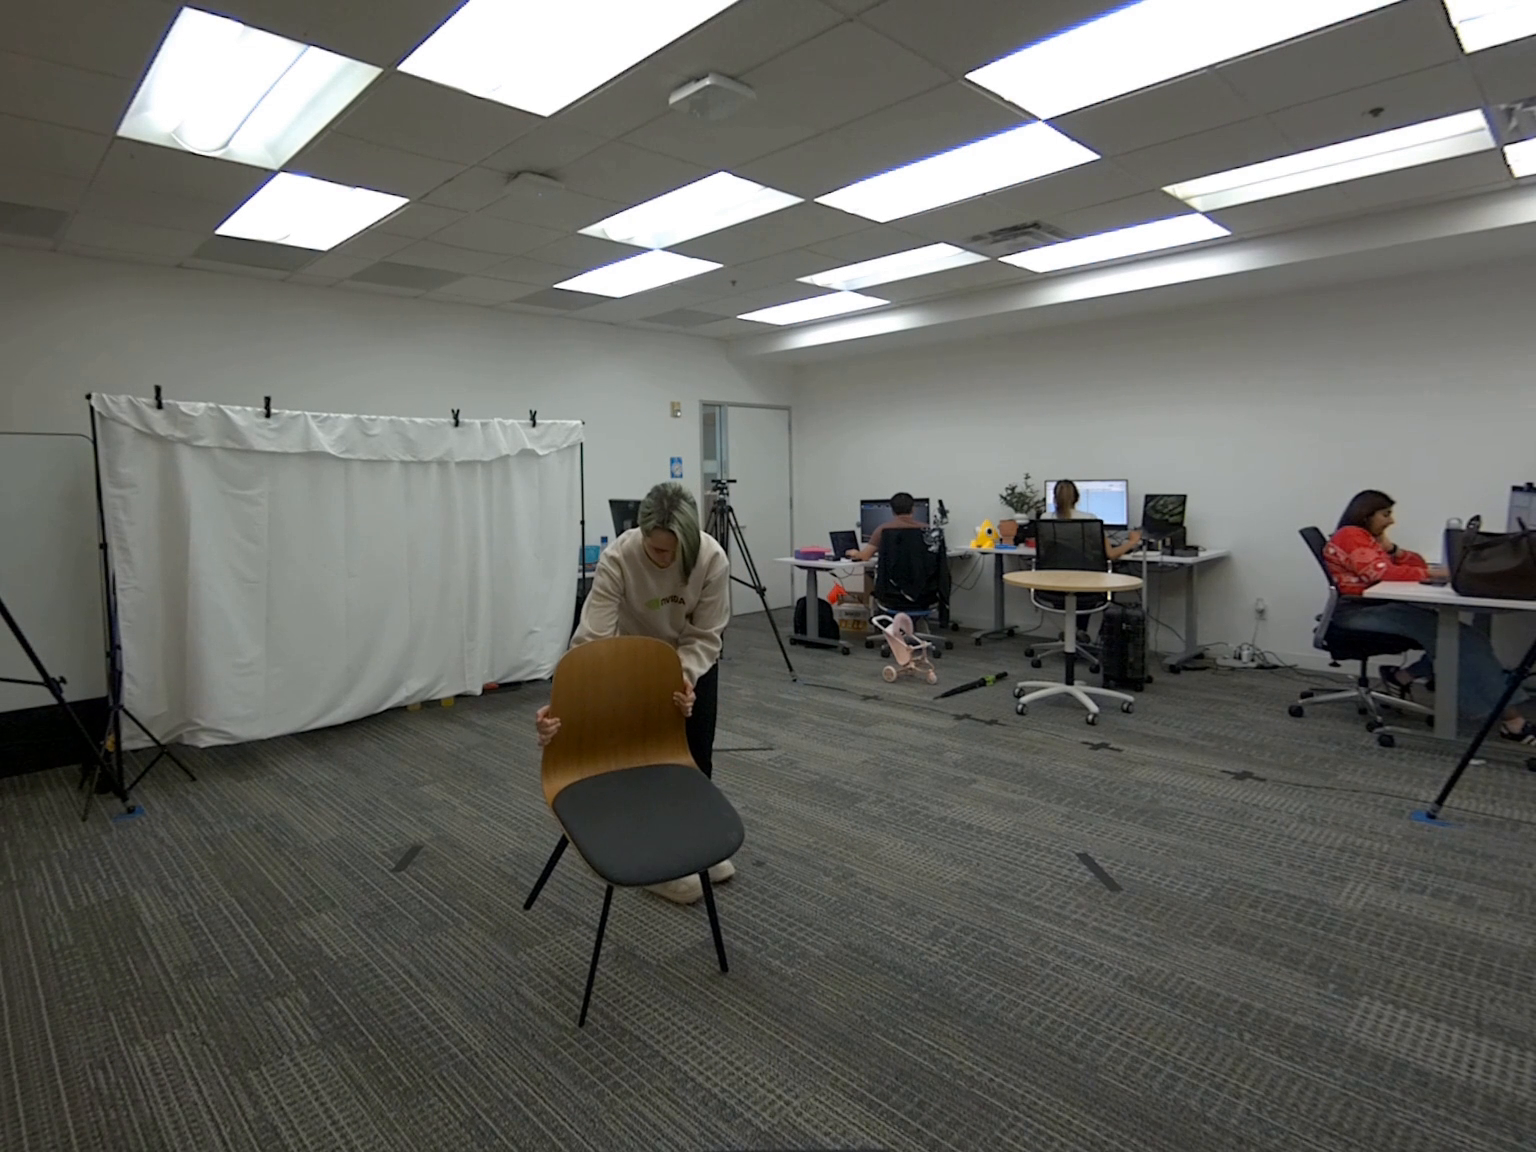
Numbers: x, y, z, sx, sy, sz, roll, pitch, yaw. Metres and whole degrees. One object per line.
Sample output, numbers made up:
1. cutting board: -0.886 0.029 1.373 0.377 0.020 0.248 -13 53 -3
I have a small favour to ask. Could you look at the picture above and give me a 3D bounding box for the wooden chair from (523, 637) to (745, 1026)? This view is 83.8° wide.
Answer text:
1. wooden chair: -0.354 0.674 2.351 0.466 0.867 0.542 -4 18 -33
